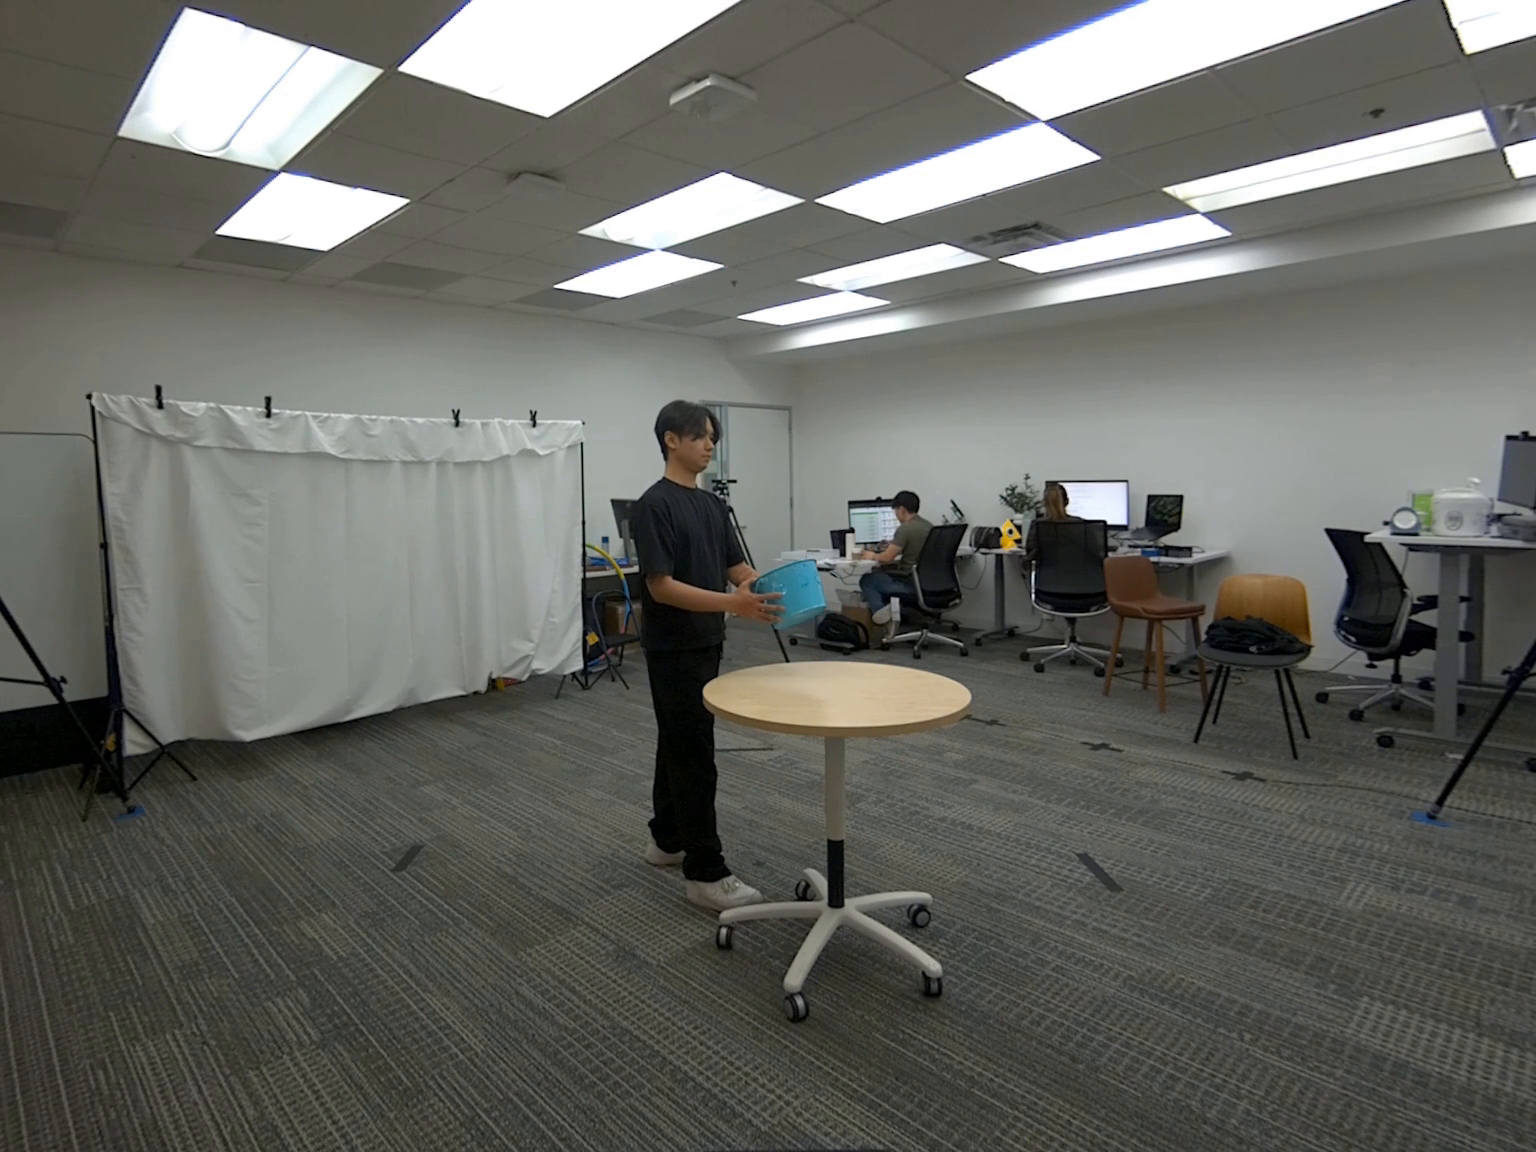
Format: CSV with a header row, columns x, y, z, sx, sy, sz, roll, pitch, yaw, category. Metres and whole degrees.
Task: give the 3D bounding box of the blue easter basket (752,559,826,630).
x,y,z,sx,sy,sz,roll,pitch,yaw,category
0.062,0.062,2.729,0.242,0.158,0.240,-18,-13,-6,blue easter basket
